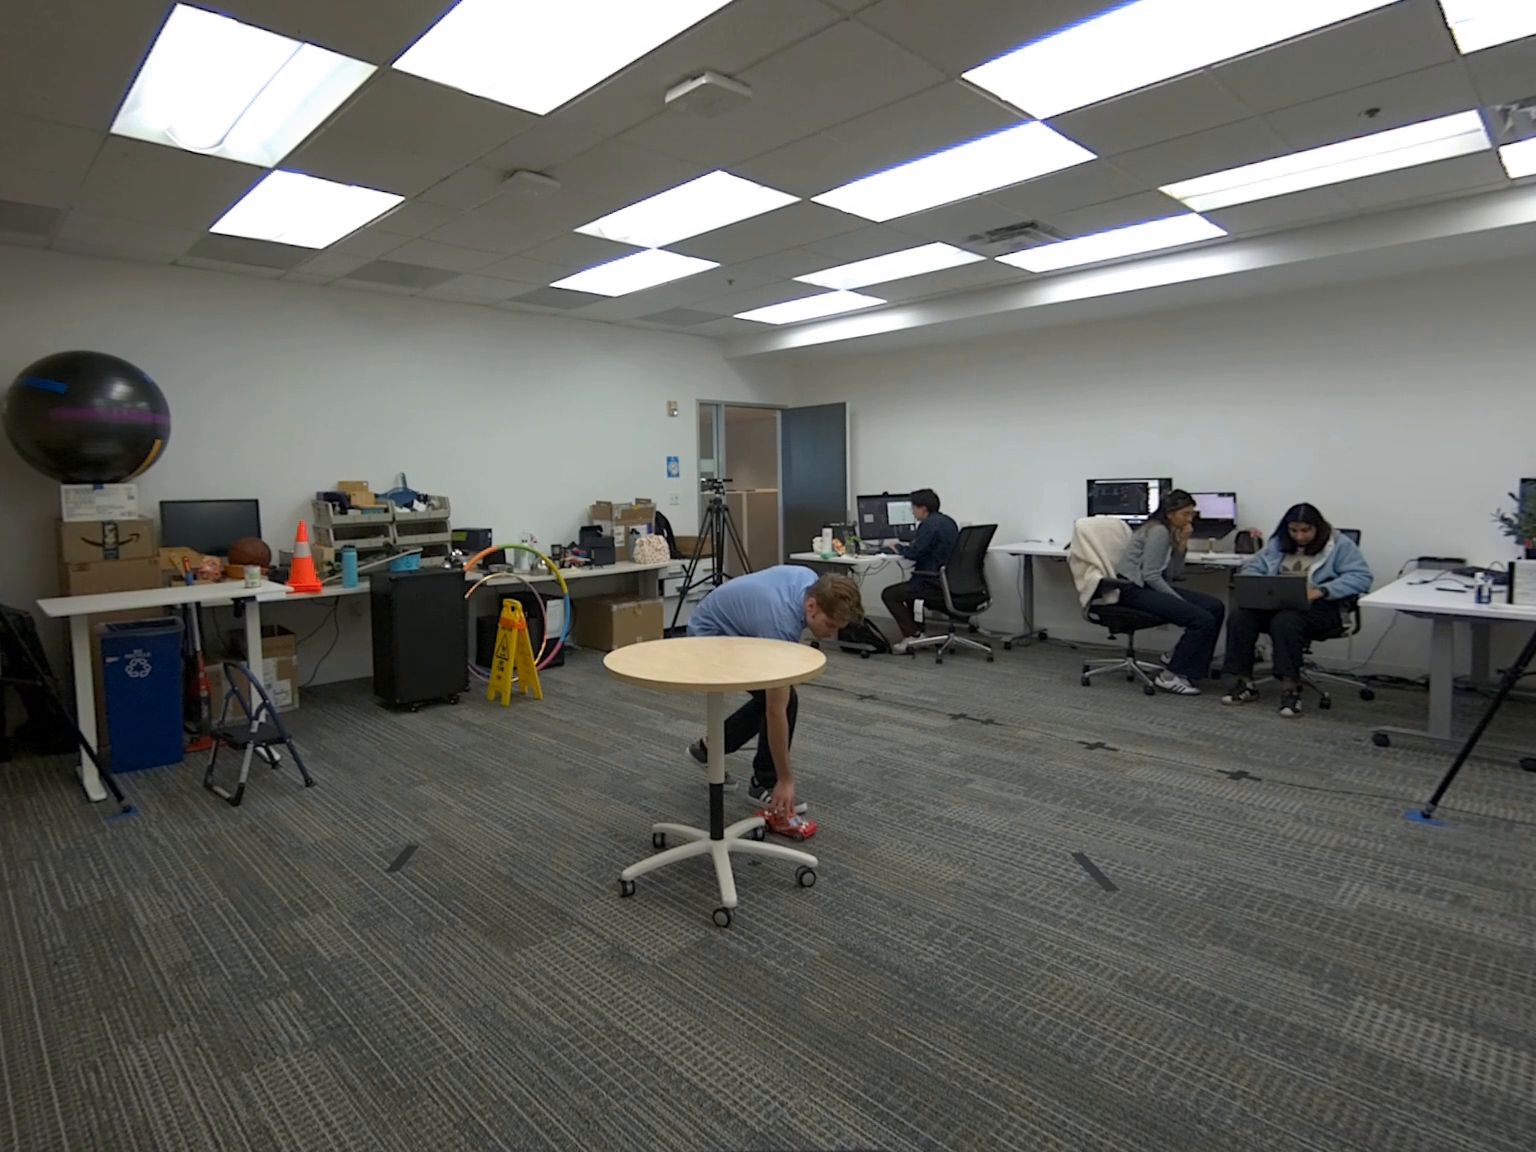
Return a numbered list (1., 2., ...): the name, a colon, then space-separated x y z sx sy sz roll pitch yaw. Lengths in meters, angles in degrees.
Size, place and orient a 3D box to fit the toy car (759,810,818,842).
1. toy car: 0.069 0.987 3.391 0.263 0.082 0.127 16 14 33
